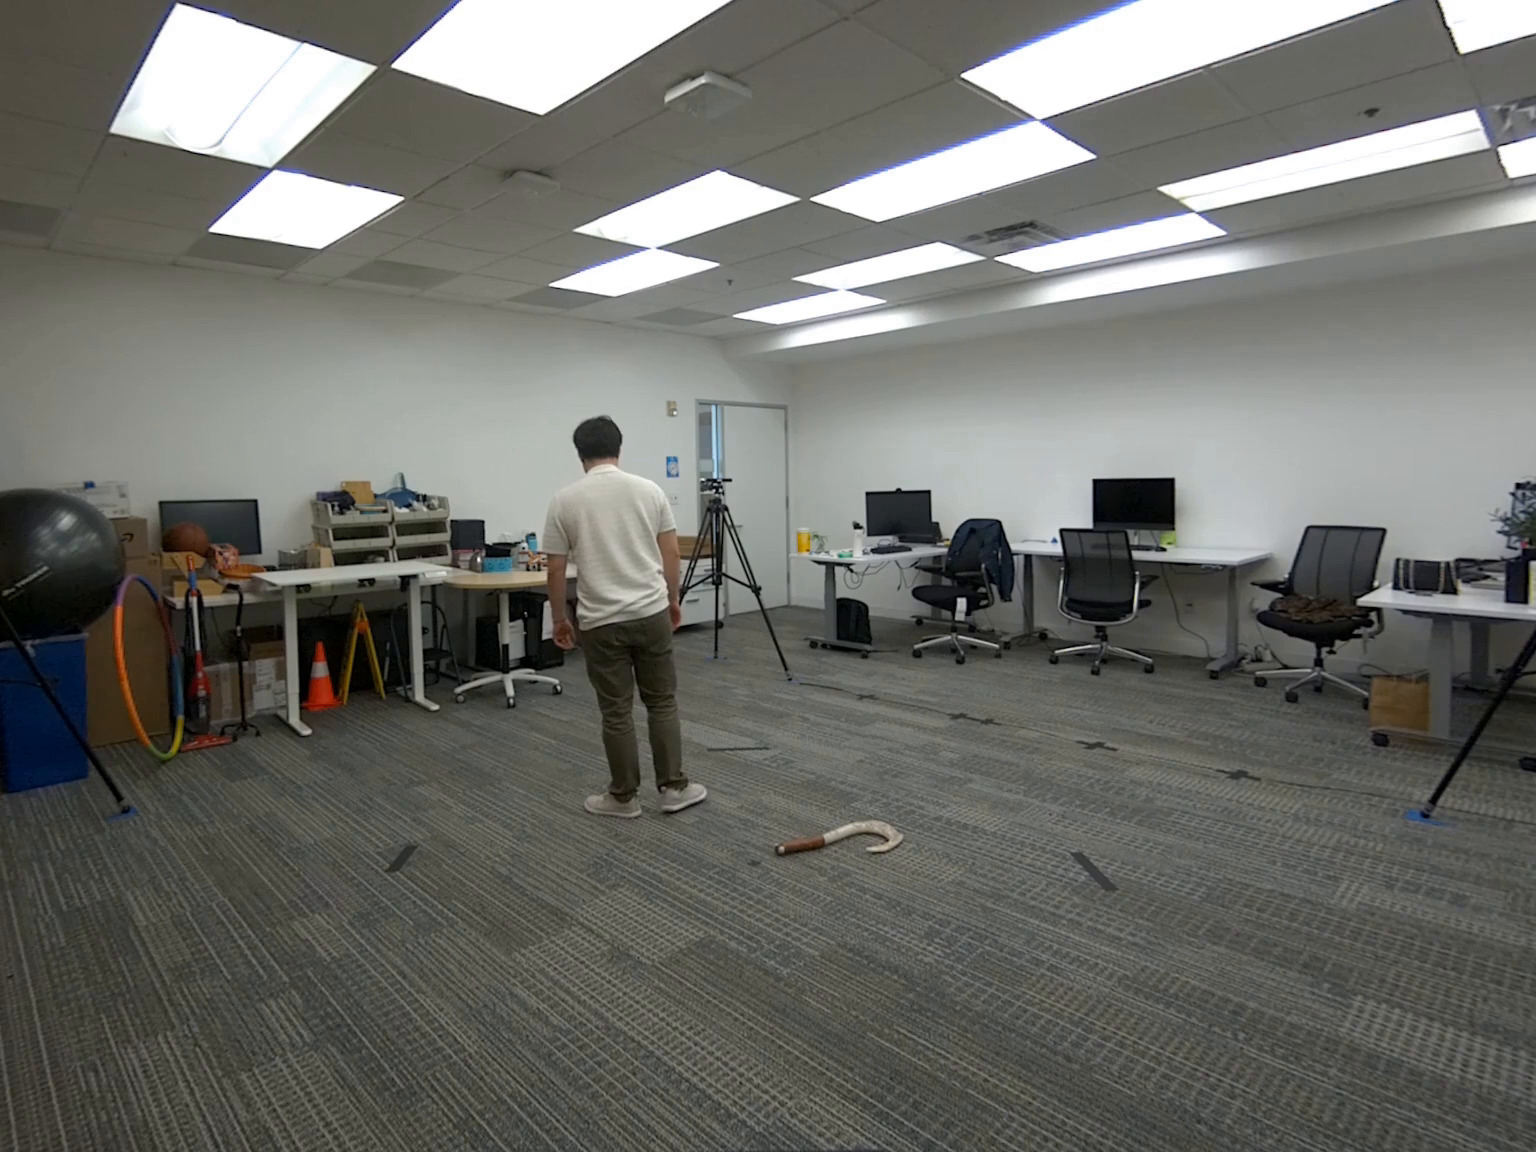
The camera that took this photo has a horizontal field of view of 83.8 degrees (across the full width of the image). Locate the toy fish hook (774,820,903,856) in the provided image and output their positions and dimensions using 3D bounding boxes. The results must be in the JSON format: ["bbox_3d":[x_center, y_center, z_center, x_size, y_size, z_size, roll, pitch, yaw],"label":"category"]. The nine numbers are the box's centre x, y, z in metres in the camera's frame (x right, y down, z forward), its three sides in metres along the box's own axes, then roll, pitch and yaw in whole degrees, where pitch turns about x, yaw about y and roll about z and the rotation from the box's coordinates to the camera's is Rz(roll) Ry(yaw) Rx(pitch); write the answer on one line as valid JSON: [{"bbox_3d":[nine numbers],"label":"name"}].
[{"bbox_3d":[0.276,1.003,3.220,0.496,0.048,0.230,-5,6,-25],"label":"toy fish hook"}]
